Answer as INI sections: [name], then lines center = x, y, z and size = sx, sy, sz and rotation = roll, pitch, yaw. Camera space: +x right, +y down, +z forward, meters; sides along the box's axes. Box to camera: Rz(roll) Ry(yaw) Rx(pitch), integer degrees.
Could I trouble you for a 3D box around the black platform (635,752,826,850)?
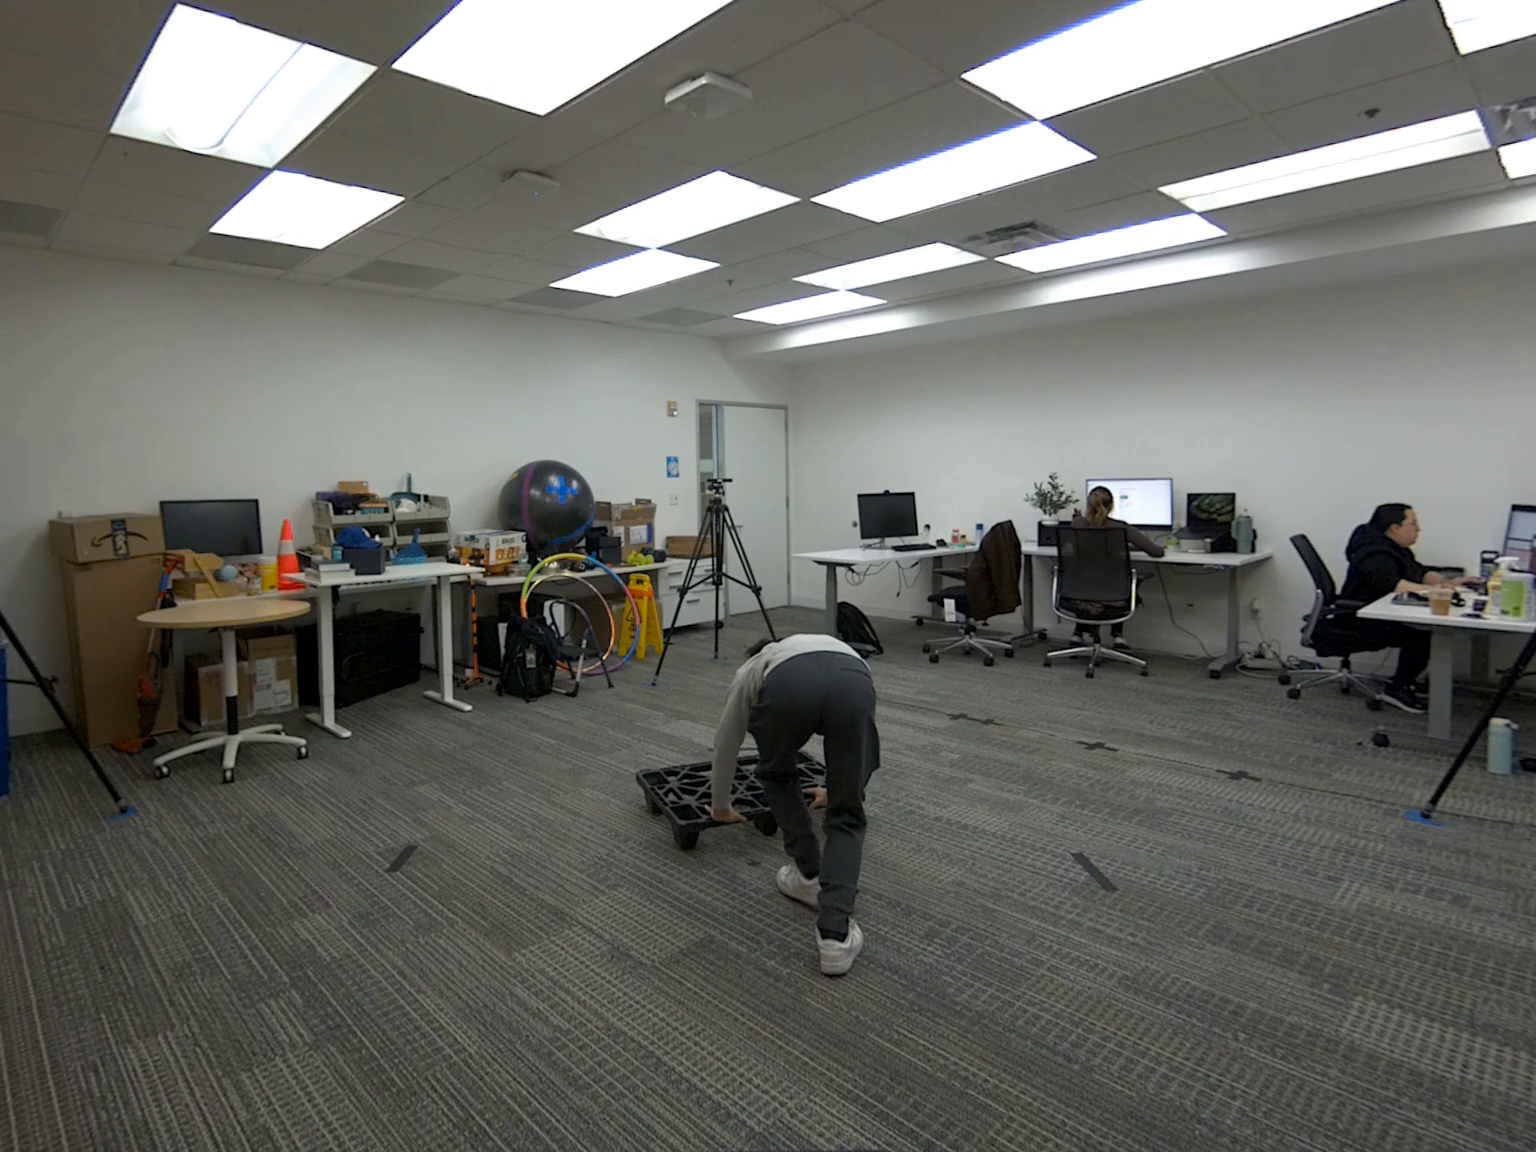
[black platform]
center = -0.090, 0.921, 3.568
size = 0.790, 0.143, 0.620
rotation = -3, 7, -22
